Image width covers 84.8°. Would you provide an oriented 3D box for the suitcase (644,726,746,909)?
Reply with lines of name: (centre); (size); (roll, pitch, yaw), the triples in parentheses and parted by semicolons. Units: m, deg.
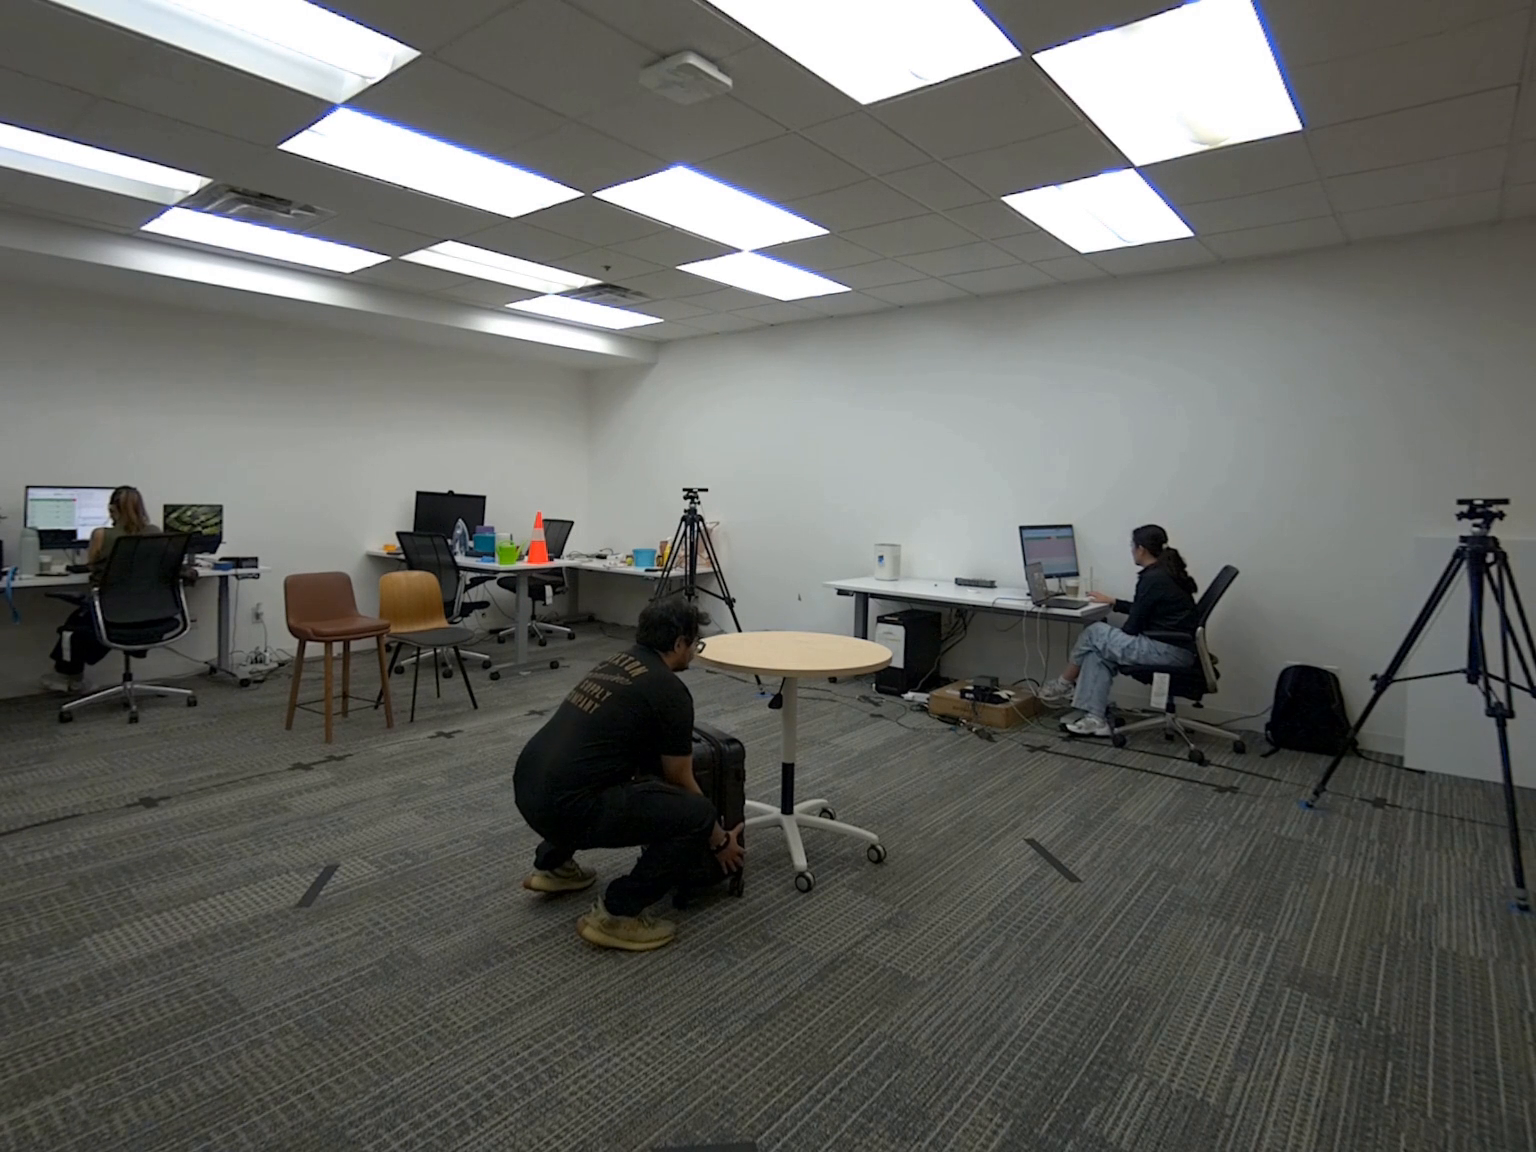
suitcase: (-0.271, 0.805, 2.991); (0.241, 0.548, 0.387); (0, 4, -32)
